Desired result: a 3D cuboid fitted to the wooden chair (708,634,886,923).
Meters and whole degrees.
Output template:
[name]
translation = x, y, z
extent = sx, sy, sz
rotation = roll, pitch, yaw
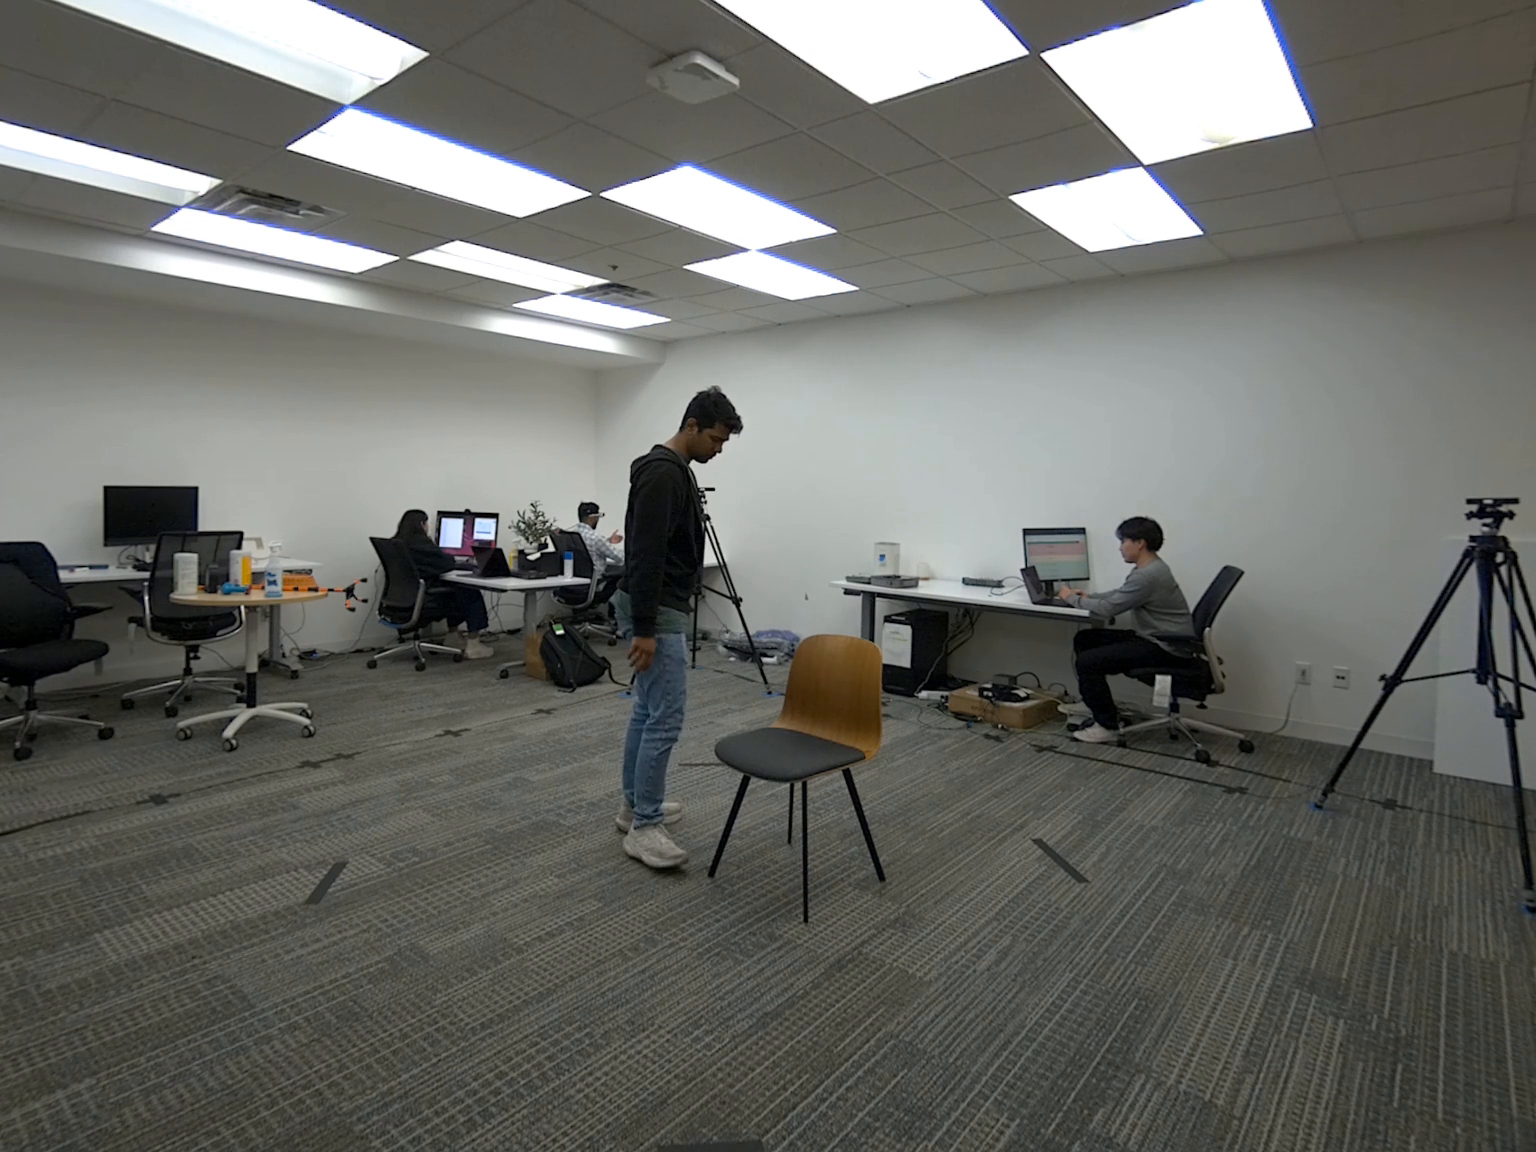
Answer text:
[wooden chair]
translation = 0.098, 0.657, 3.009
extent = 0.494, 0.877, 0.506
rotation = 5, 1, 43
